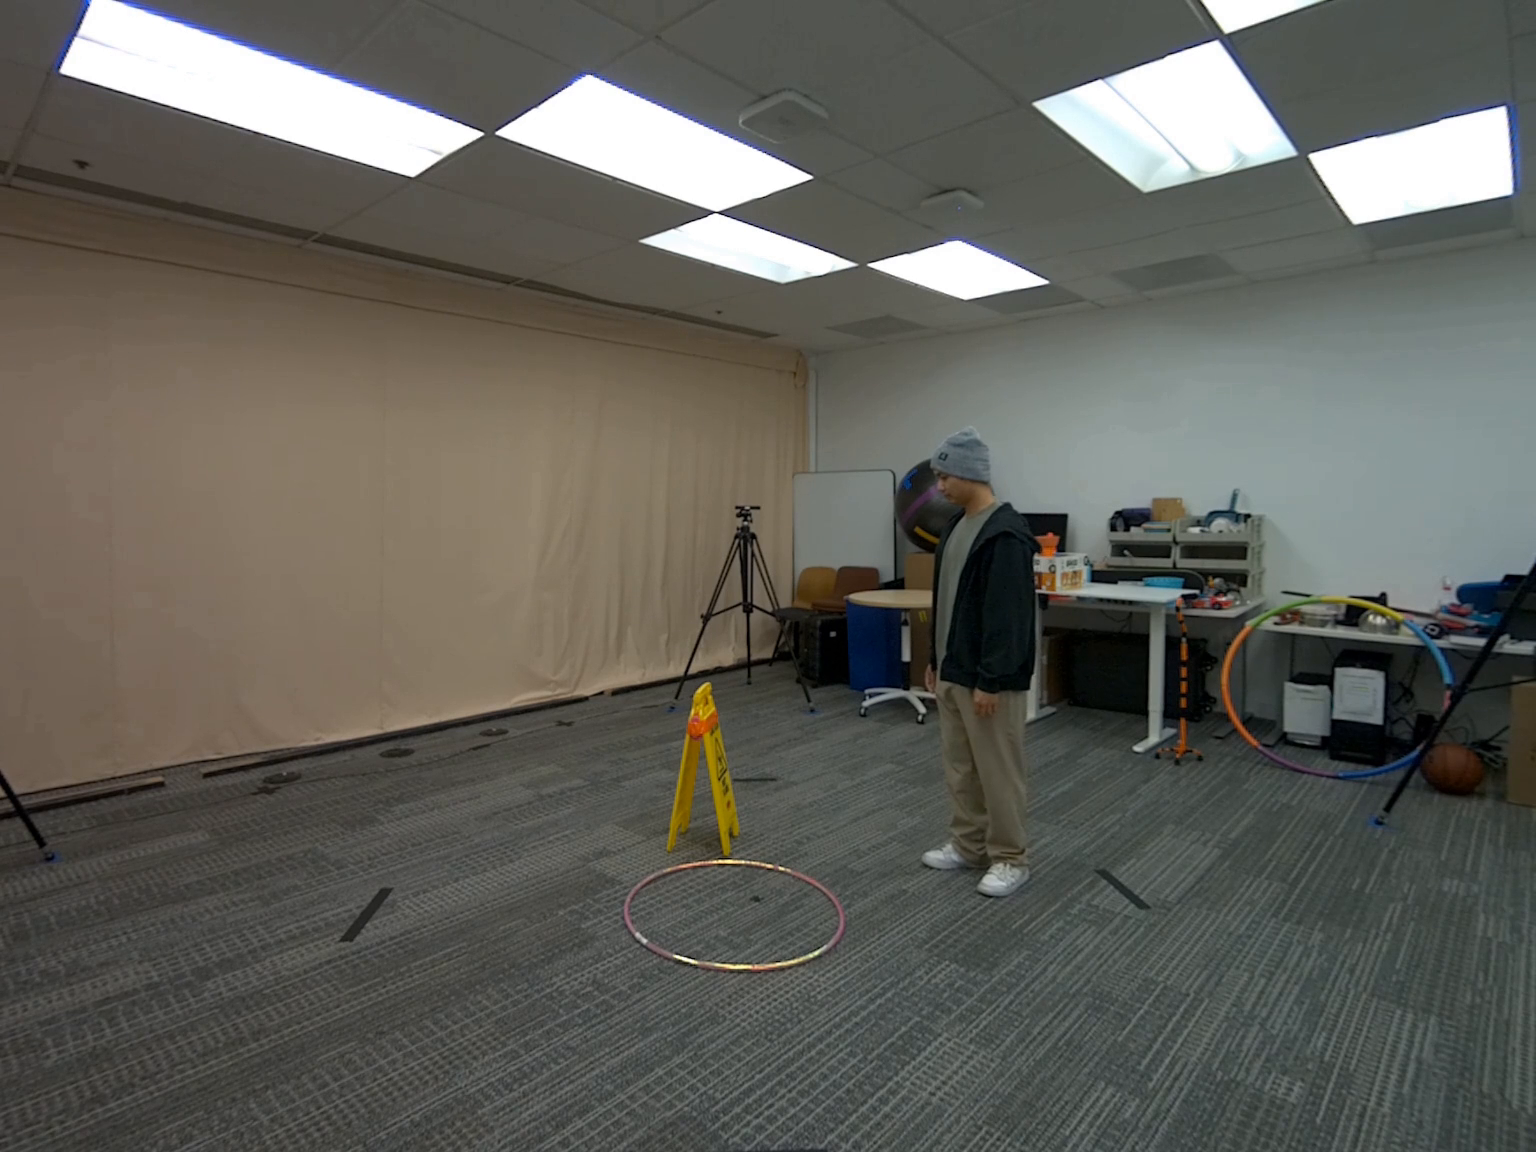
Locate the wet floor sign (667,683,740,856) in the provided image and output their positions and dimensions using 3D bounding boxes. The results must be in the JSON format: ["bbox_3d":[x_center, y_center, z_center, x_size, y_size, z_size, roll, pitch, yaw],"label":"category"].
[{"bbox_3d":[-0.265,0.785,3.483,0.293,0.645,0.279,-1,3,11],"label":"wet floor sign"}]
